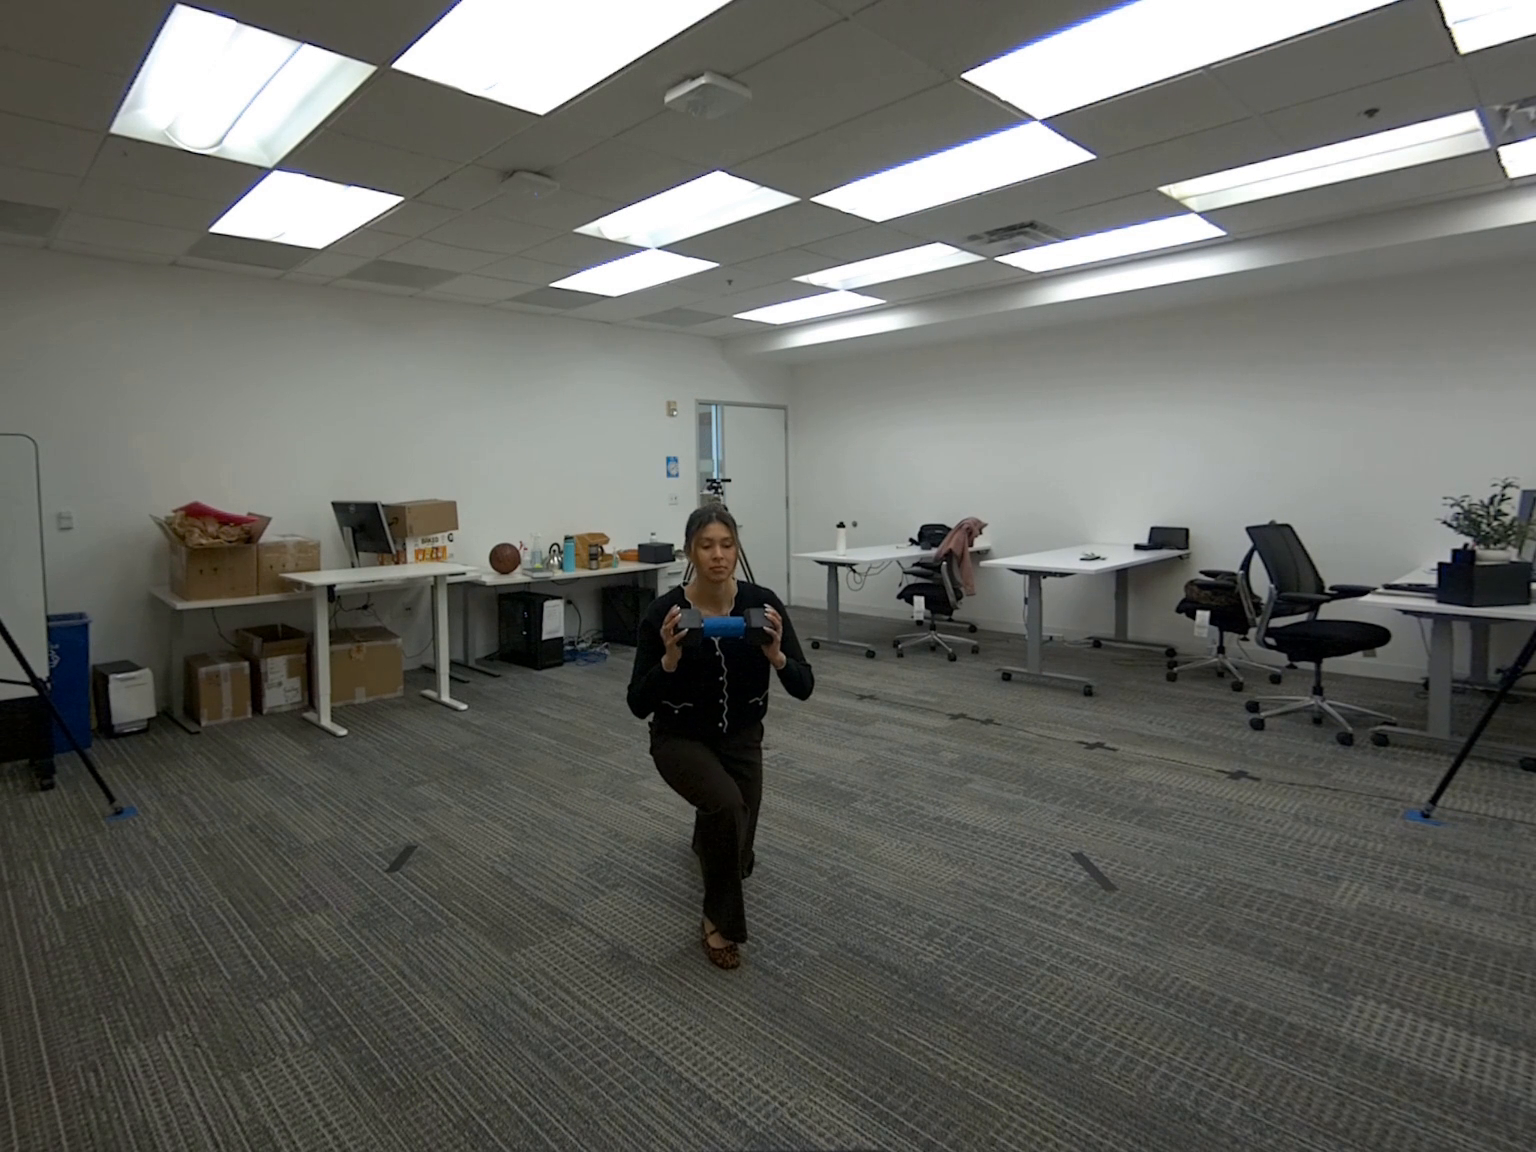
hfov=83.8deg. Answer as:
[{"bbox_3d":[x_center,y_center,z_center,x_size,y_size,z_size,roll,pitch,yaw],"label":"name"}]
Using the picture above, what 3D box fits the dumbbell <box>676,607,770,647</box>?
[{"bbox_3d":[-0.138,0.144,2.526,0.291,0.109,0.123,1,-3,-8],"label":"dumbbell"}]
